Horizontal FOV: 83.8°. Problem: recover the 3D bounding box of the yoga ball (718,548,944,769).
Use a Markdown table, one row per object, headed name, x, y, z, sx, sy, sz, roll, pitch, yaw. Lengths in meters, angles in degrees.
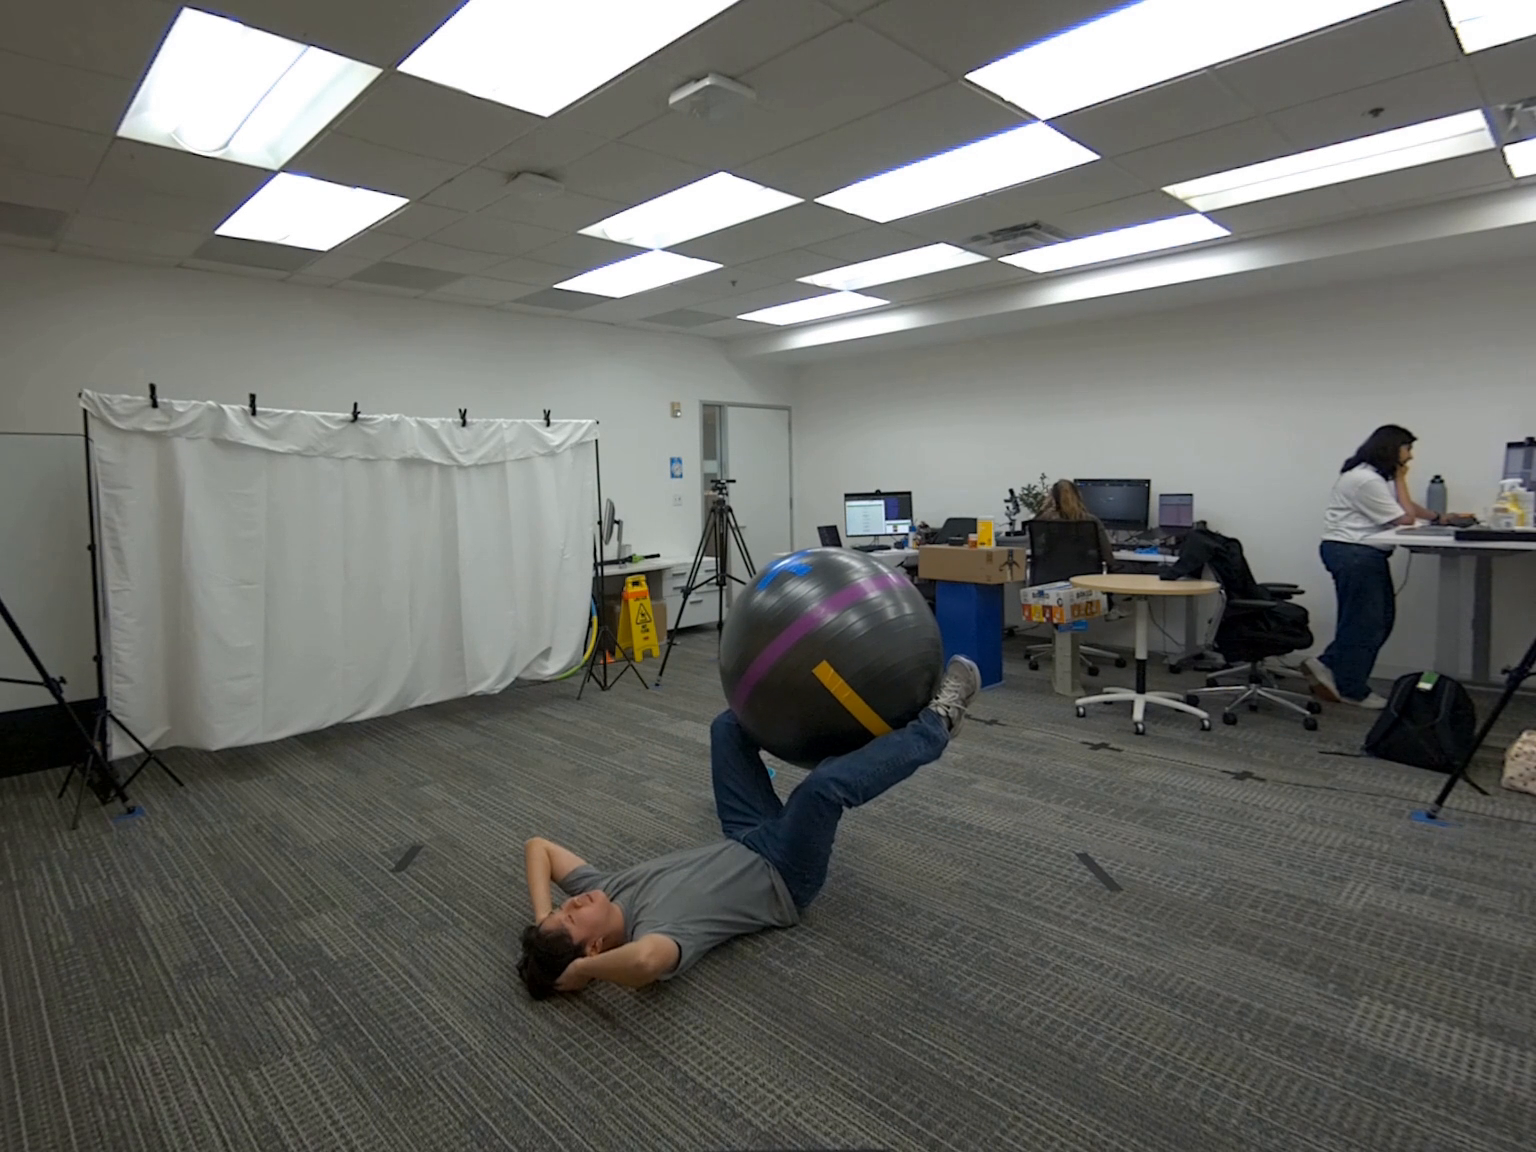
| name | x | y | z | sx | sy | sz | roll | pitch | yaw |
| --- | --- | --- | --- | --- | --- | --- | --- | --- | --- |
| yoga ball | 0.205 | 0.282 | 2.910 | 0.757 | 0.755 | 0.762 | -1 | 5 | -2 |
